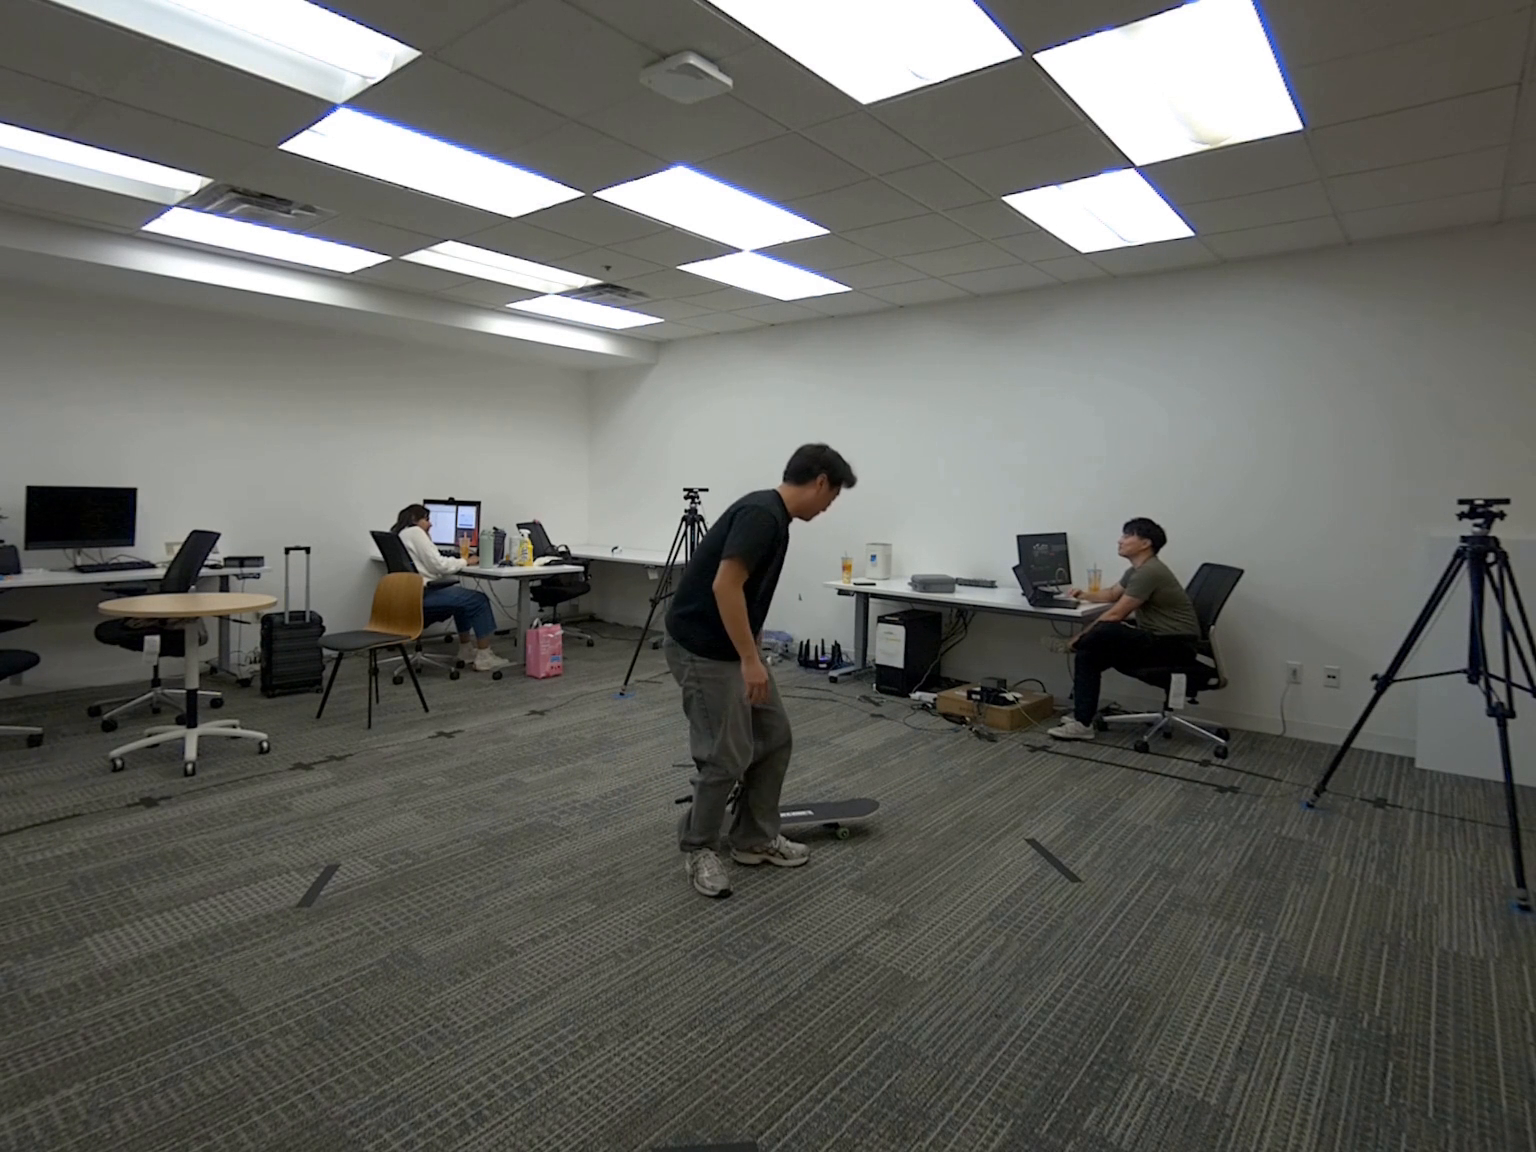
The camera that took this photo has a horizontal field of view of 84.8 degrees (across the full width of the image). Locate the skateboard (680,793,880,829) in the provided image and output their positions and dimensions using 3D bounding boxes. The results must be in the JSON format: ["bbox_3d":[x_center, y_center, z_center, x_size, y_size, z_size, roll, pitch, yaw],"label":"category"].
[{"bbox_3d":[0.079,0.992,3.430,0.773,0.110,0.197,-1,6,-16],"label":"skateboard"}]
